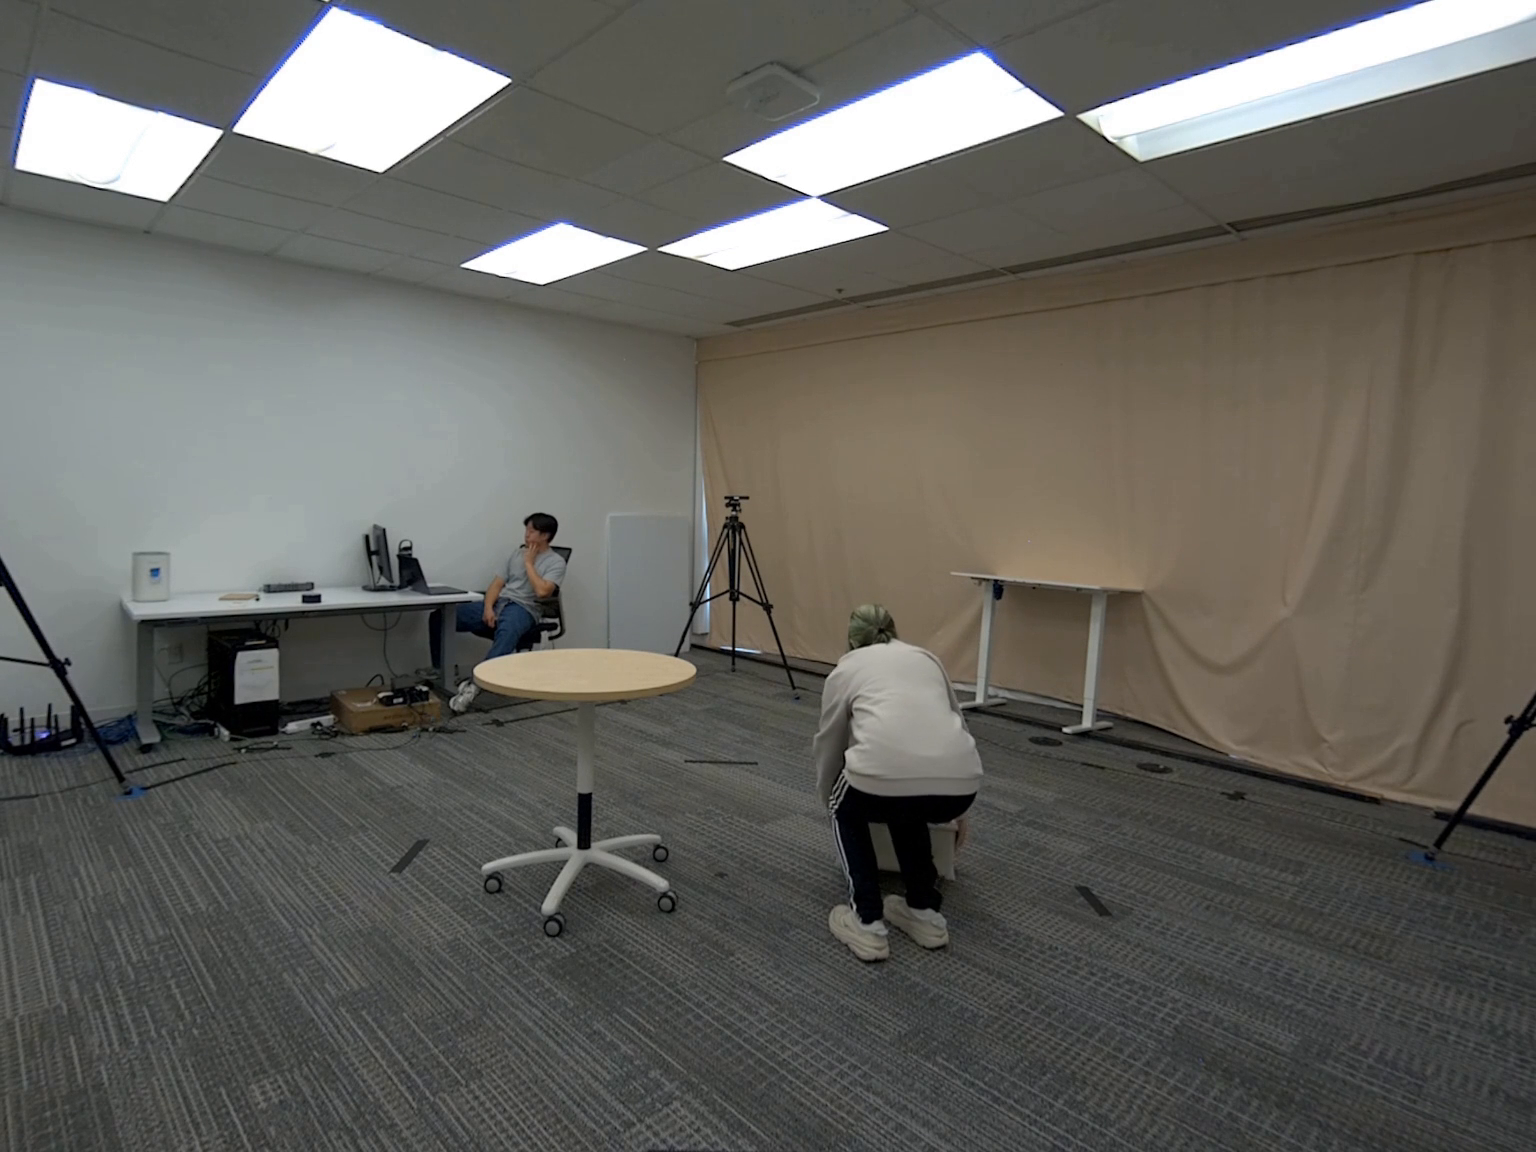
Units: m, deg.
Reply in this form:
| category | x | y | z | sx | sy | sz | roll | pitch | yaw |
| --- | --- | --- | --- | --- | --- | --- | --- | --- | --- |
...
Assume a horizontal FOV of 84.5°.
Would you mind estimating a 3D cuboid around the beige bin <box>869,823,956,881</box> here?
| category | x | y | z | sx | sy | sz | roll | pitch | yaw |
| --- | --- | --- | --- | --- | --- | --- | --- | --- | --- |
| beige bin | 0.474 | 0.970 | 3.111 | 0.427 | 0.190 | 0.372 | 4 | -6 | 11 |
